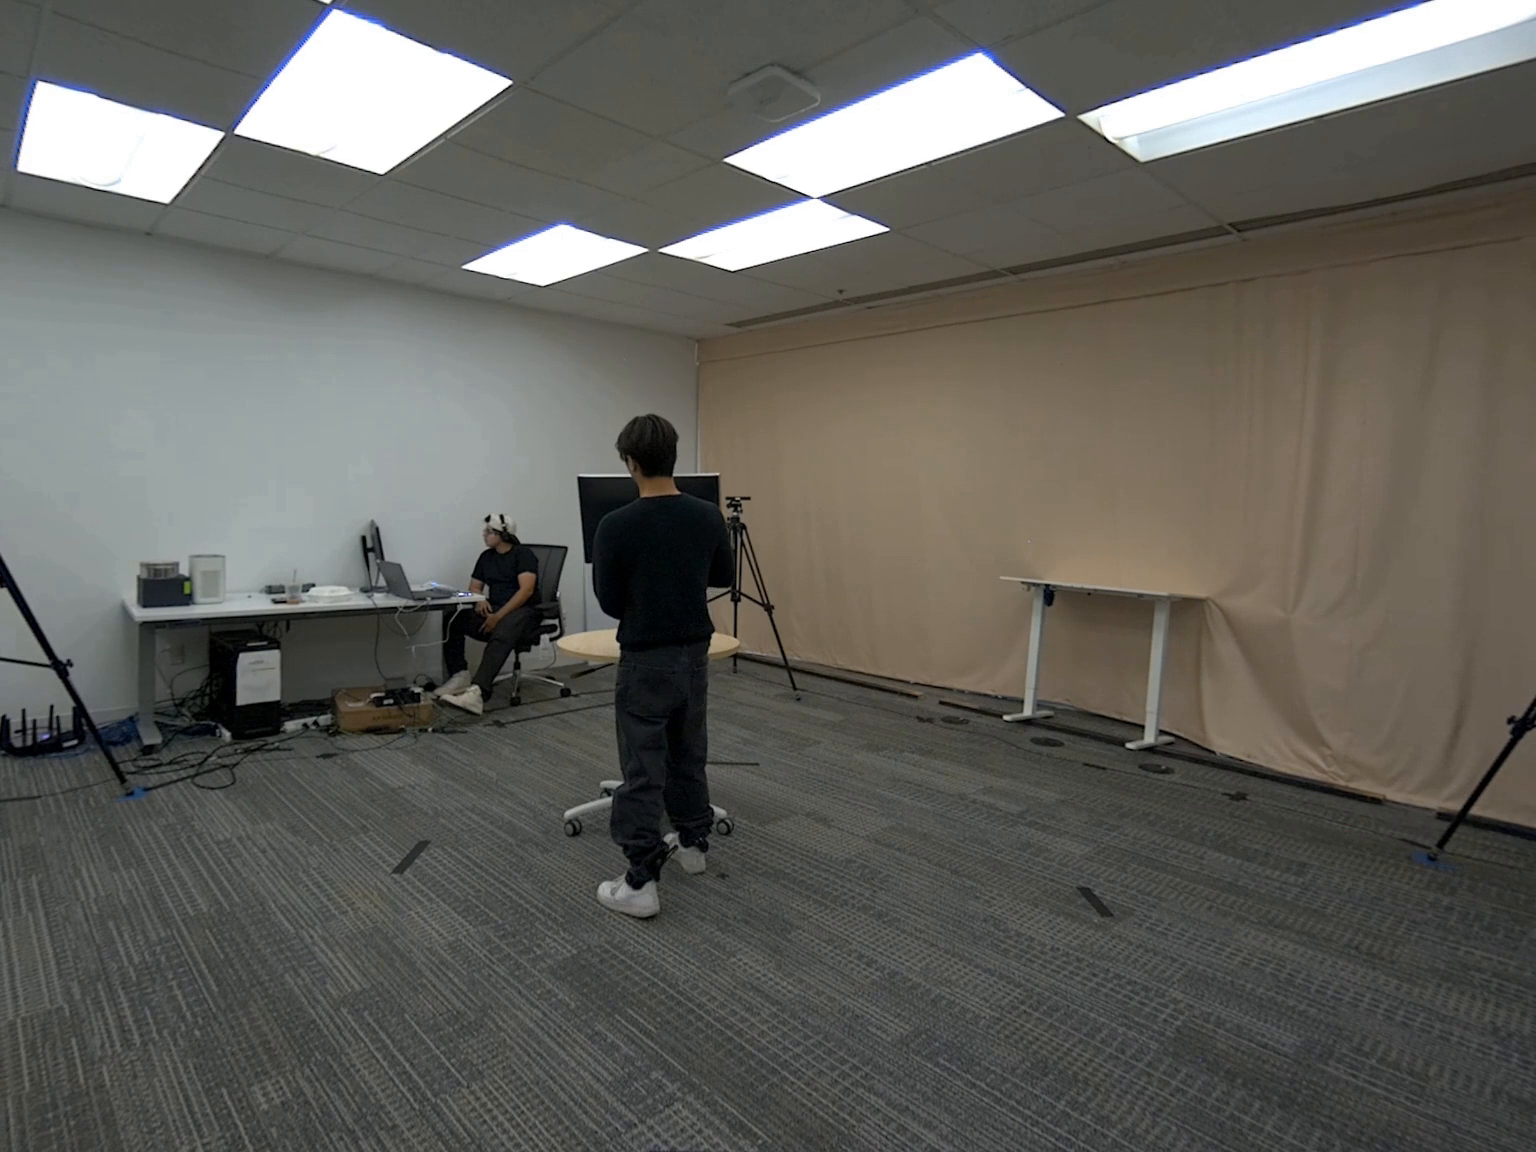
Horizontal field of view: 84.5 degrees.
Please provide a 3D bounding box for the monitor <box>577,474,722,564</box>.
[{"bbox_3d":[-0.460,-0.117,3.261,0.532,0.516,0.174,-1,-1,4],"label":"monitor"}]
